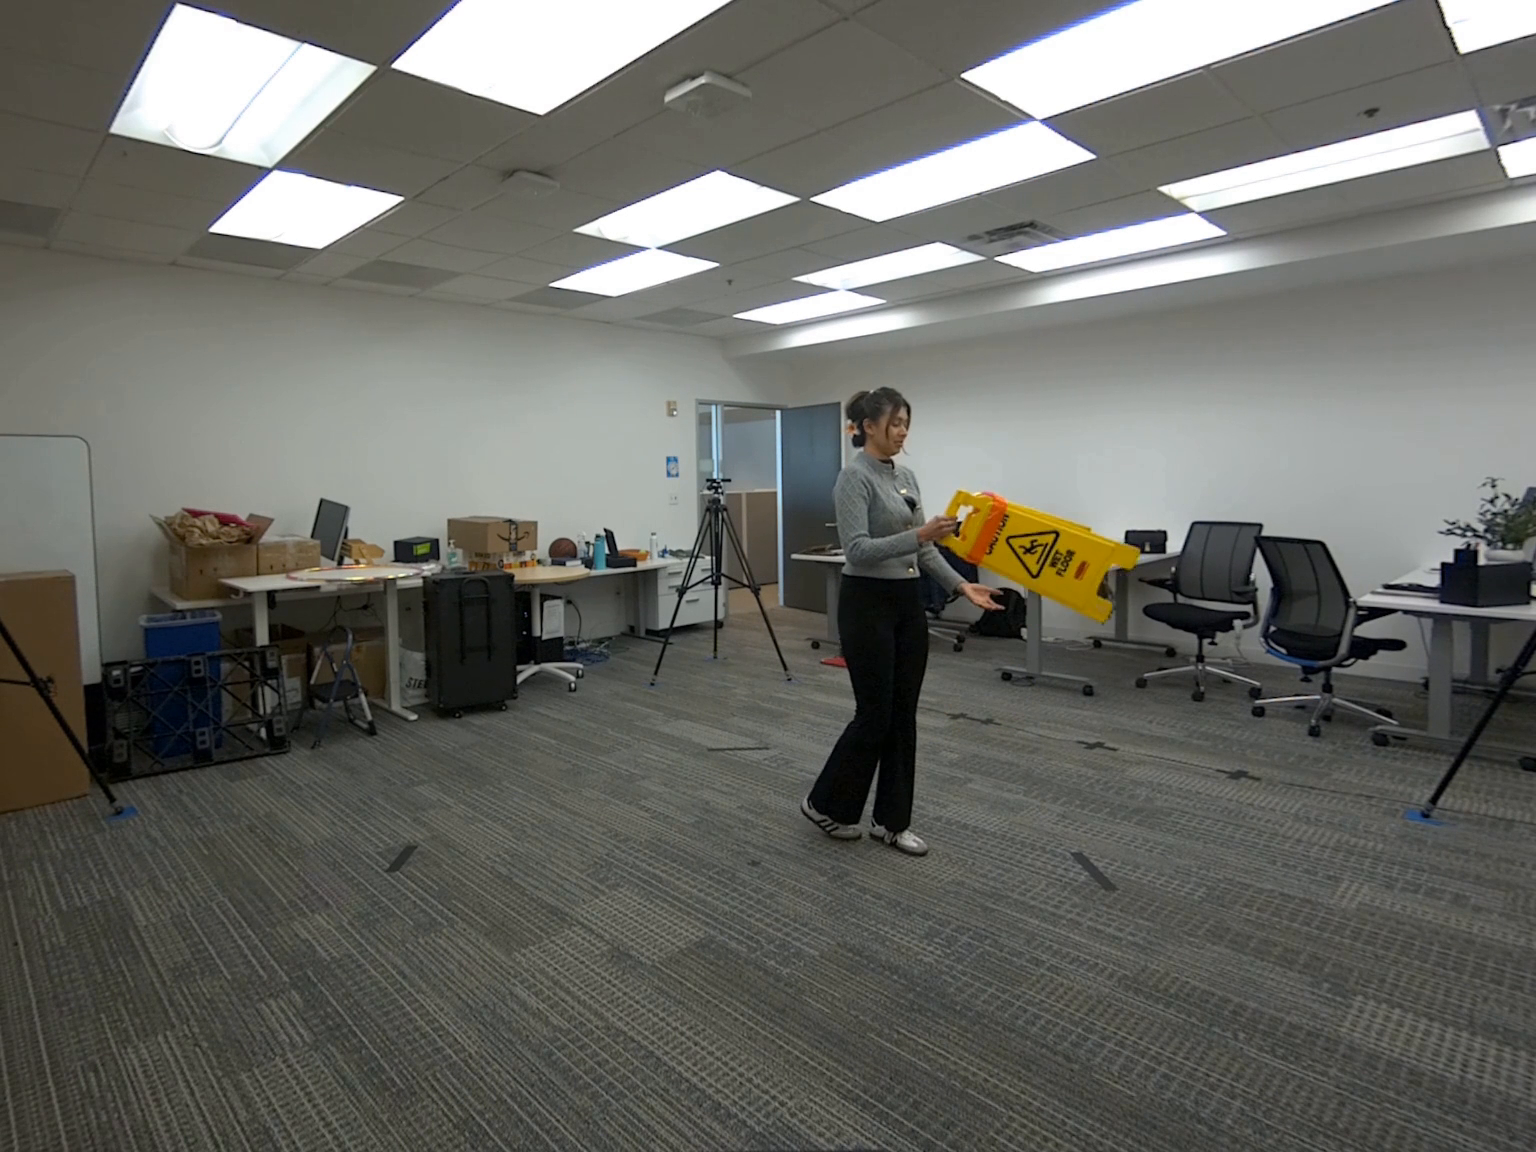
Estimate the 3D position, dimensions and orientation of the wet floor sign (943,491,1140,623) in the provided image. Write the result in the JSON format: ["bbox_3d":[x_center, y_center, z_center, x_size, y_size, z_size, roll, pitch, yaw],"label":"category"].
[{"bbox_3d":[0.877,-0.102,2.957,0.632,0.281,0.297,20,13,-18],"label":"wet floor sign"}]
